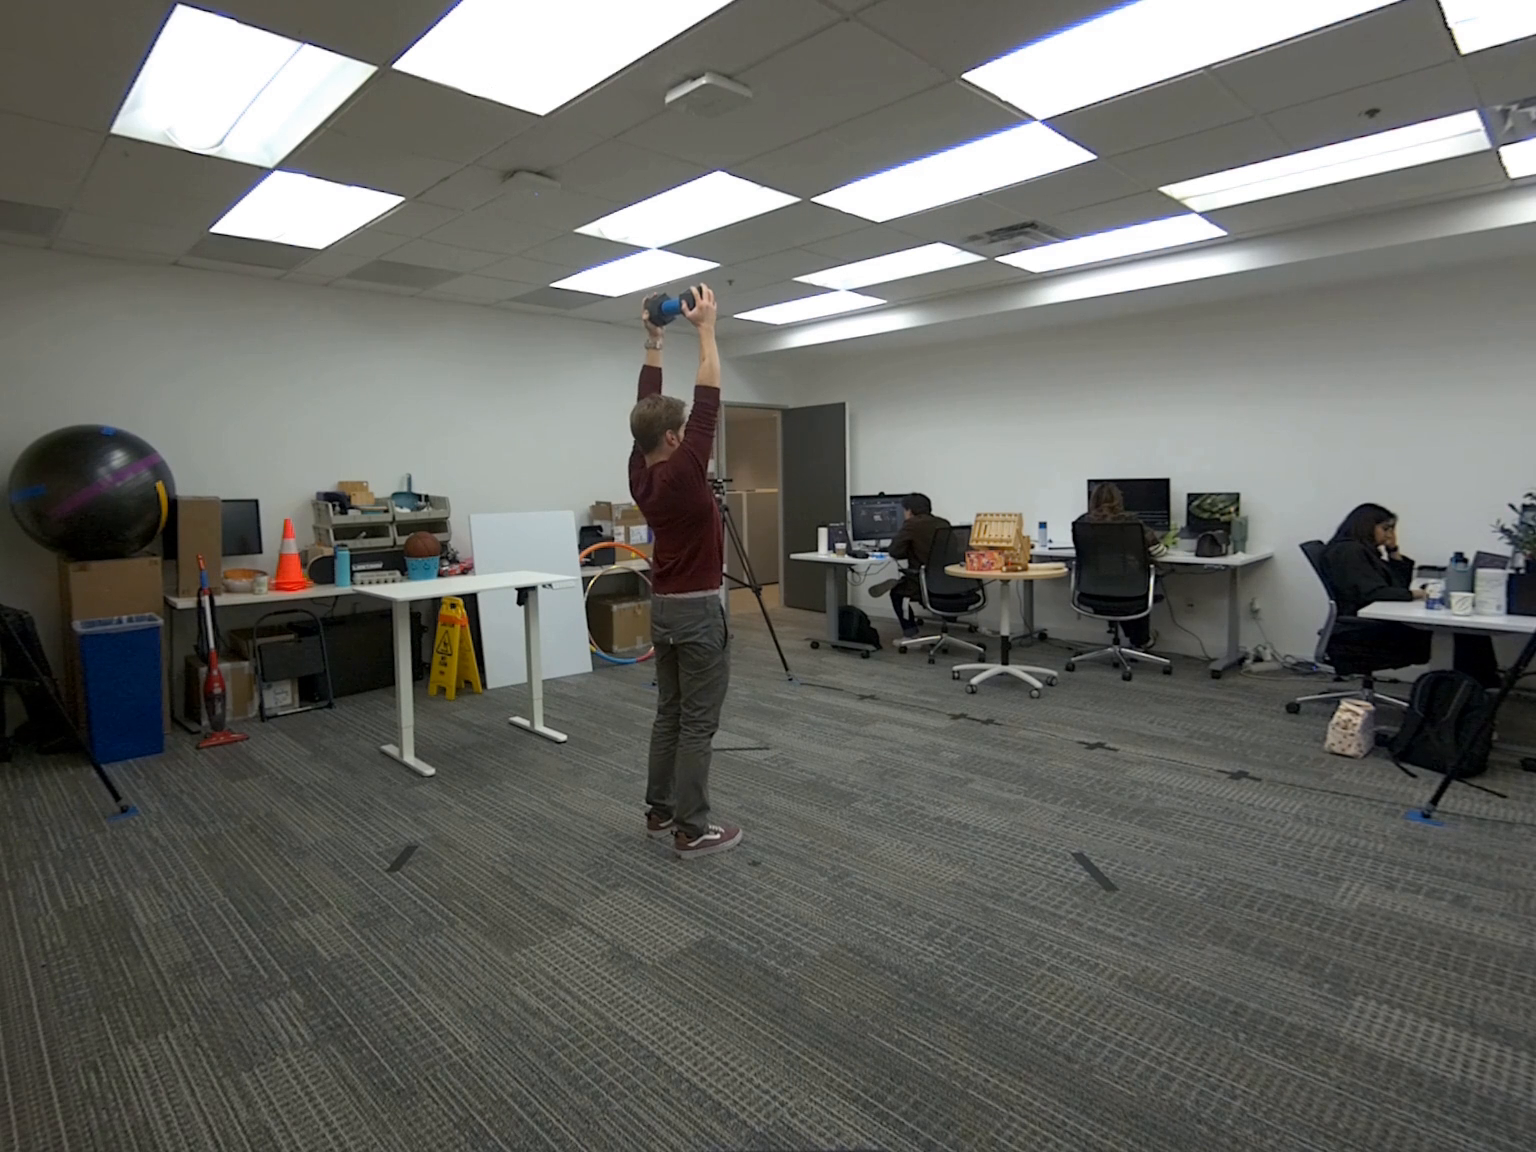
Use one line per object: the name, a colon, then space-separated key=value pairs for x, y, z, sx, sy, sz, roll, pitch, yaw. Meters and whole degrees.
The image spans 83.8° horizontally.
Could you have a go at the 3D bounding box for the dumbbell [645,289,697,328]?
dumbbell: x=-0.330 y=-1.000 z=3.192 sx=0.106 sy=0.122 sz=0.303 roll=-8 pitch=13 yaw=-41
